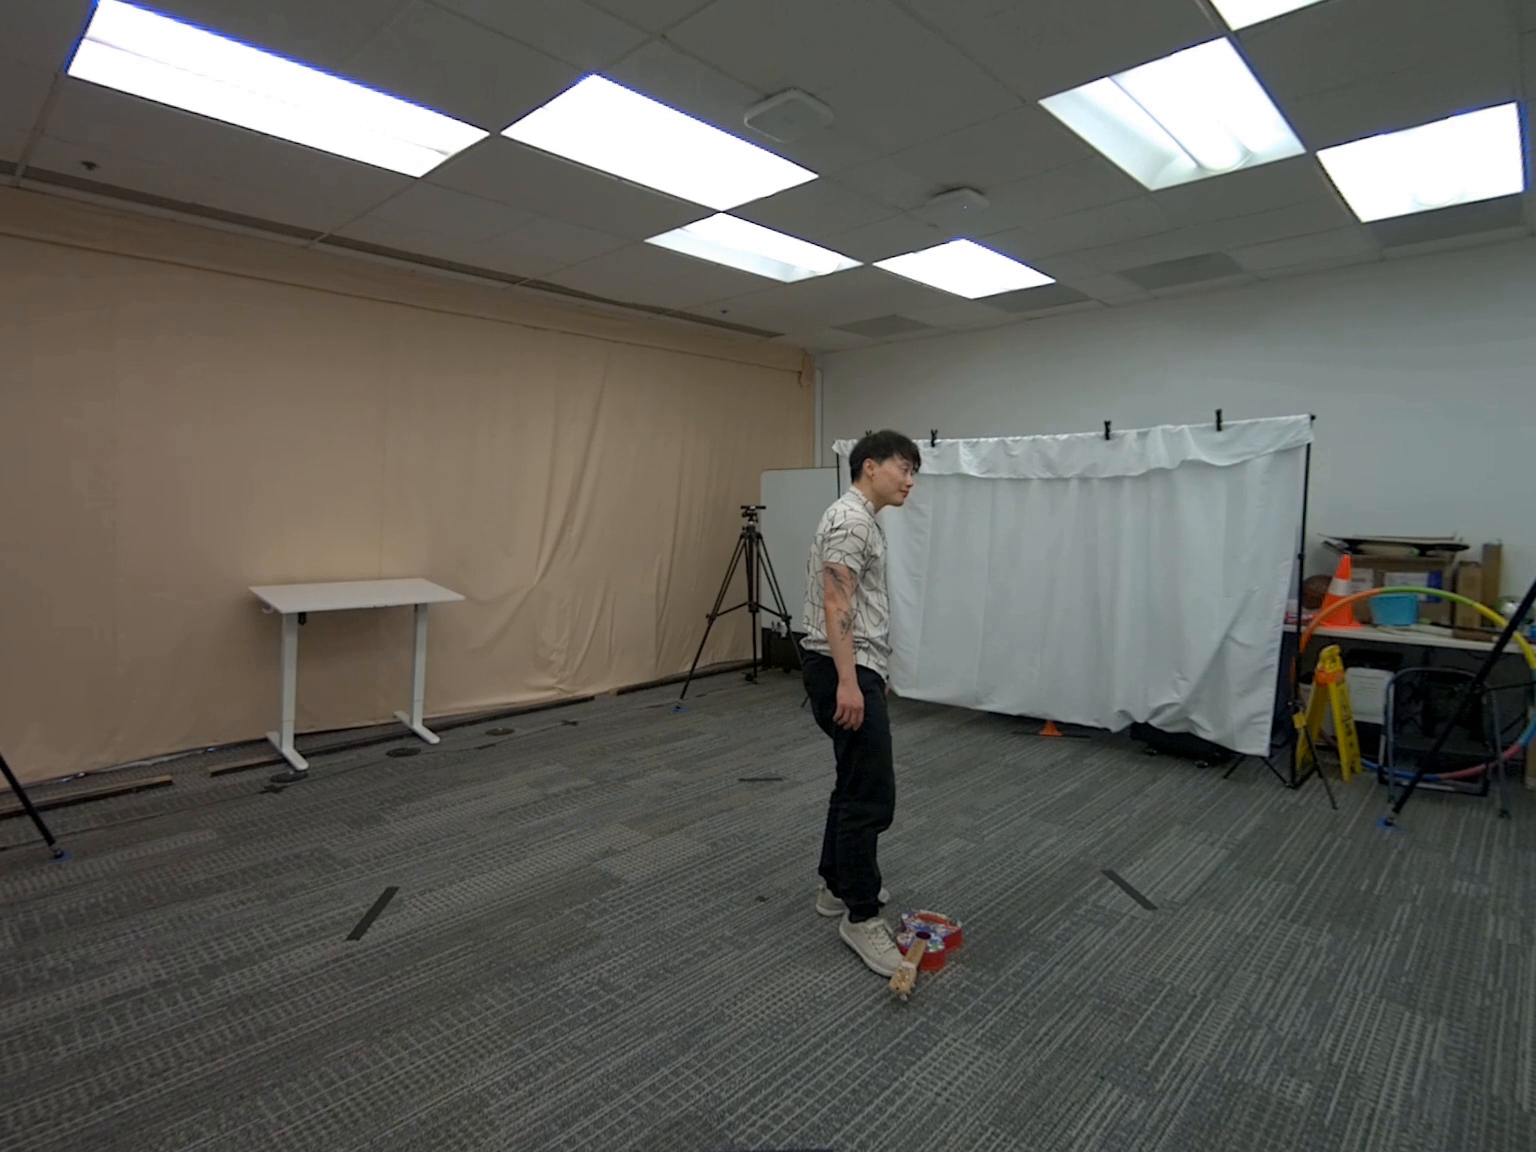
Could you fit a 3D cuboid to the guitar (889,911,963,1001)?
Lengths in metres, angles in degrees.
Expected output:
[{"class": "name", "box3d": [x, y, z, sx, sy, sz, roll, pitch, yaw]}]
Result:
[{"class": "guitar", "box3d": [0.434, 1.143, 2.550, 0.199, 0.070, 0.484, 3, 5, 32]}]
